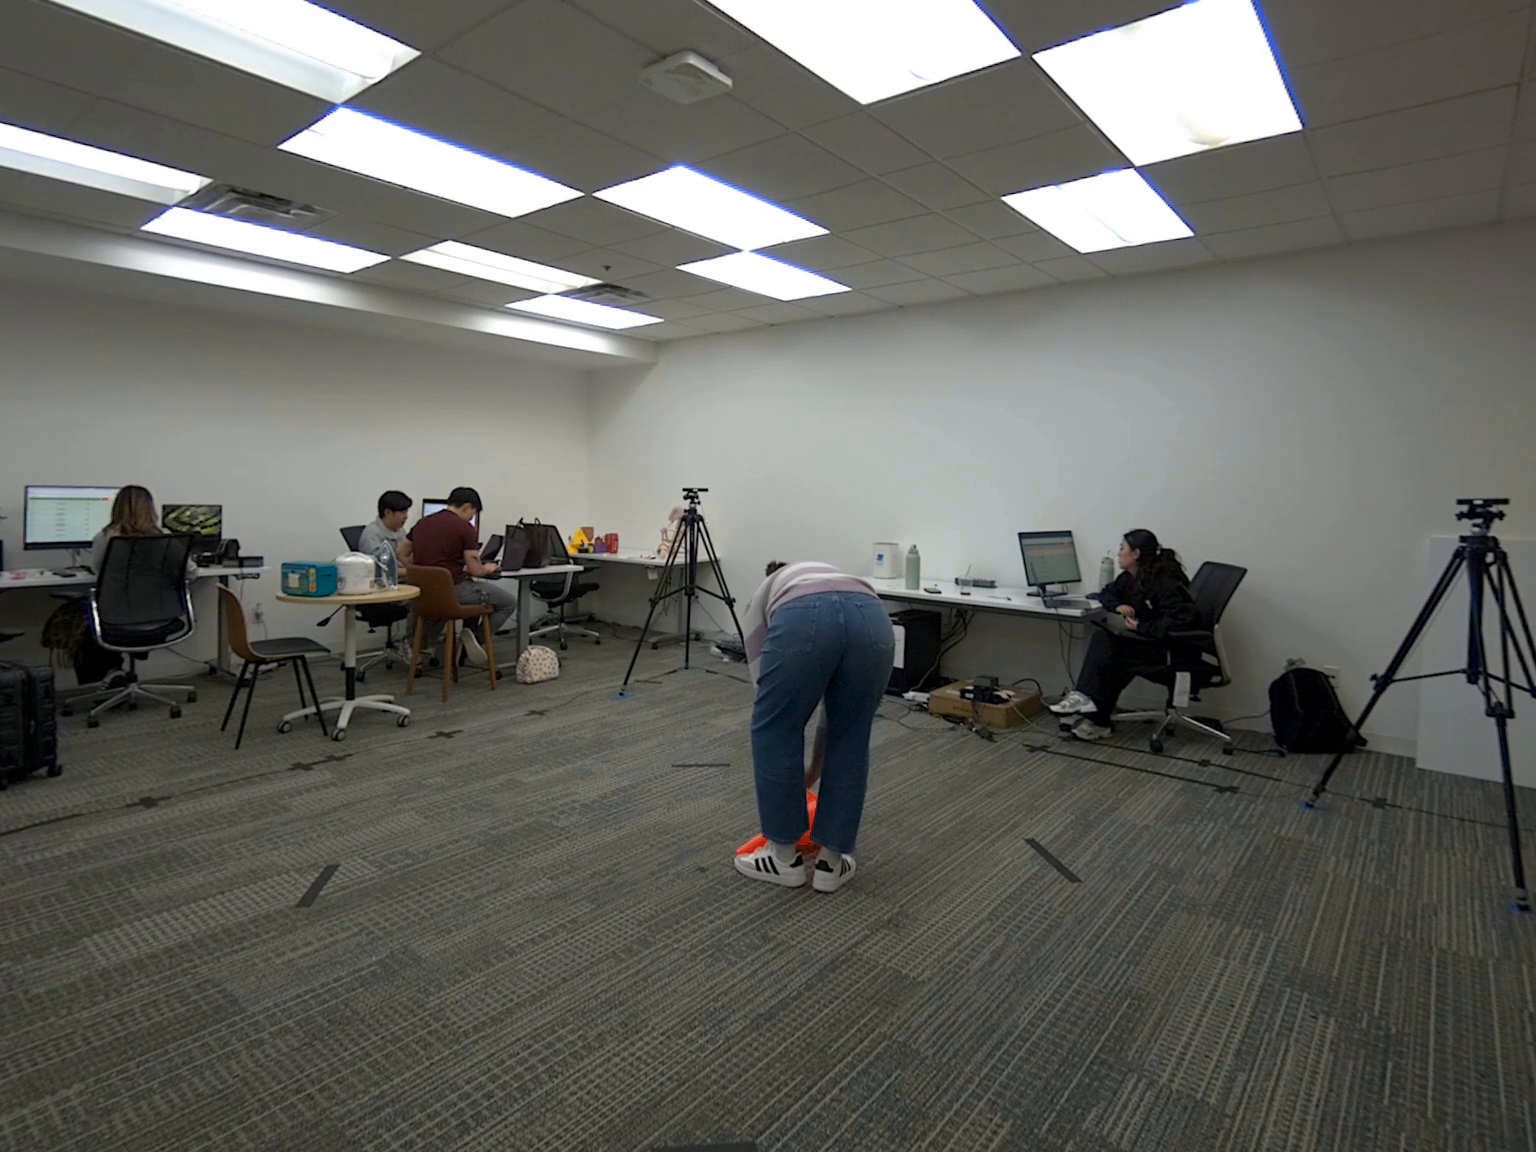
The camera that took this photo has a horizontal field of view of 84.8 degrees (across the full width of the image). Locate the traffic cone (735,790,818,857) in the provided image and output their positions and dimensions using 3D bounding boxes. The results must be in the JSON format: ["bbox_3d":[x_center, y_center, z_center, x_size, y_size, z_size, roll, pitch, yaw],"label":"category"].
[{"bbox_3d":[0.038,1.000,3.280,0.377,0.203,0.209,-15,10,-22],"label":"traffic cone"}]
